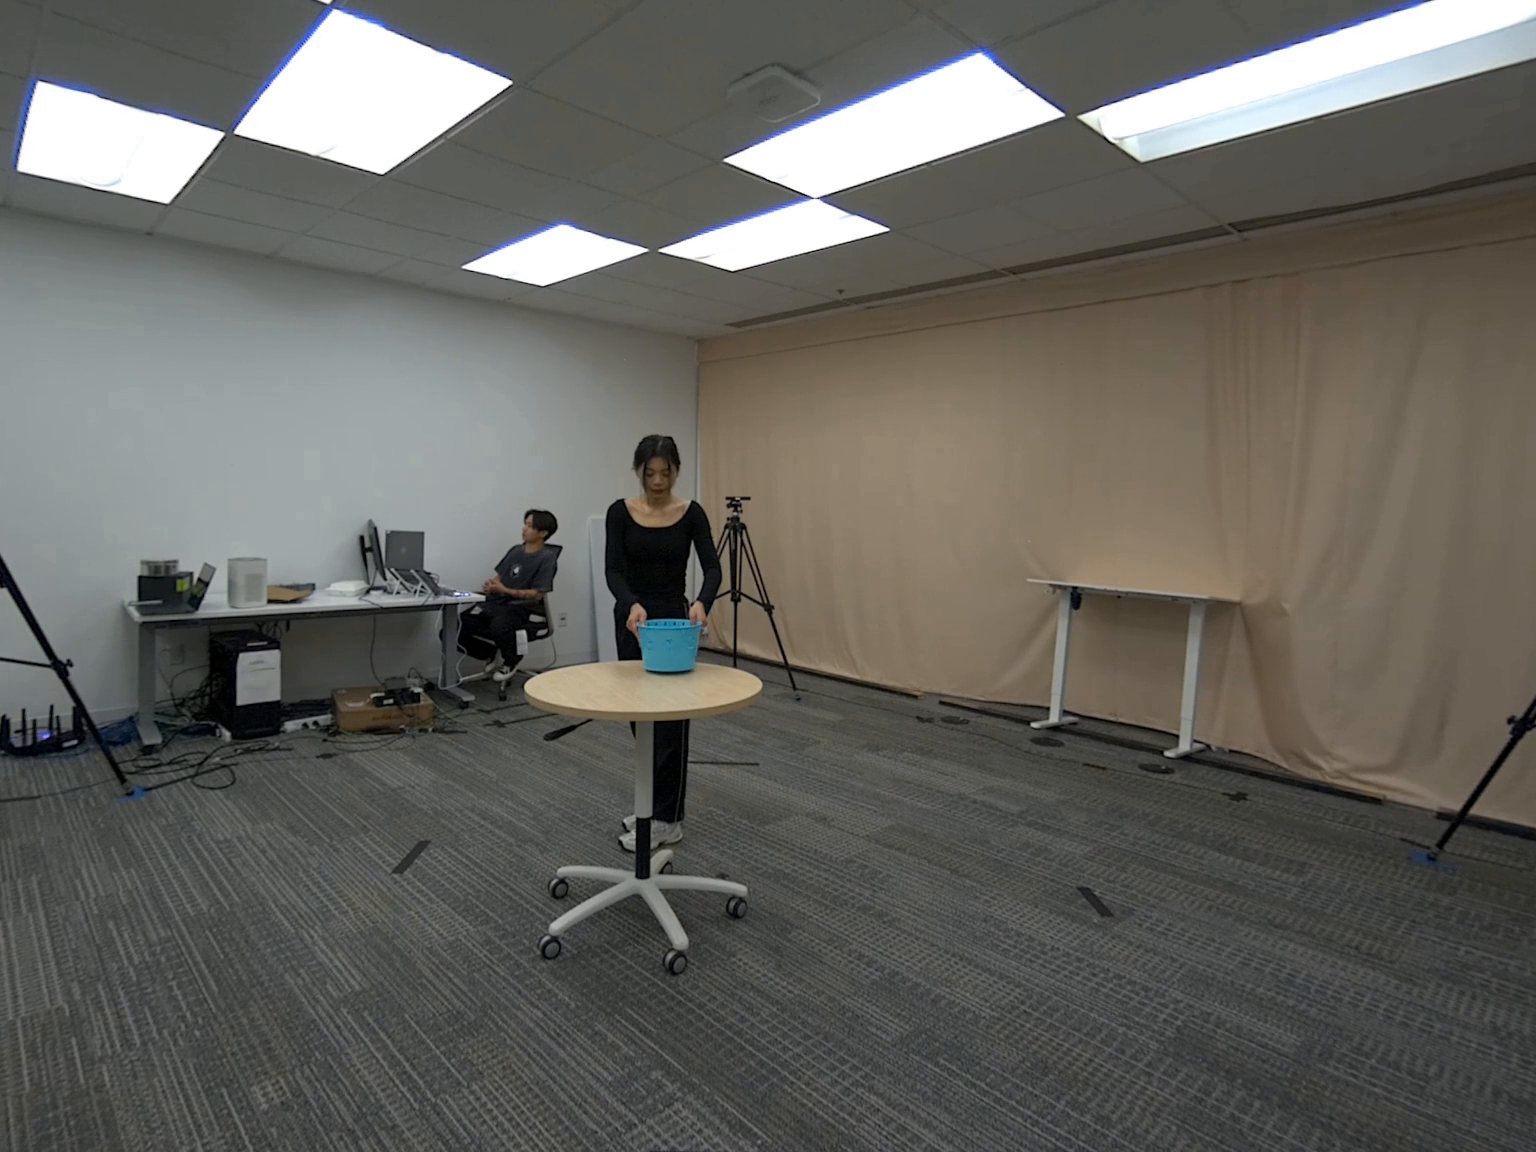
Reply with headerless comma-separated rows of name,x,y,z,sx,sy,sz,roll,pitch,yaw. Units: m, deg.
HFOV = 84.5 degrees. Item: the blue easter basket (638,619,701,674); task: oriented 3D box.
blue easter basket,-0.353,0.249,2.934,0.243,0.155,0.244,-1,4,-1
